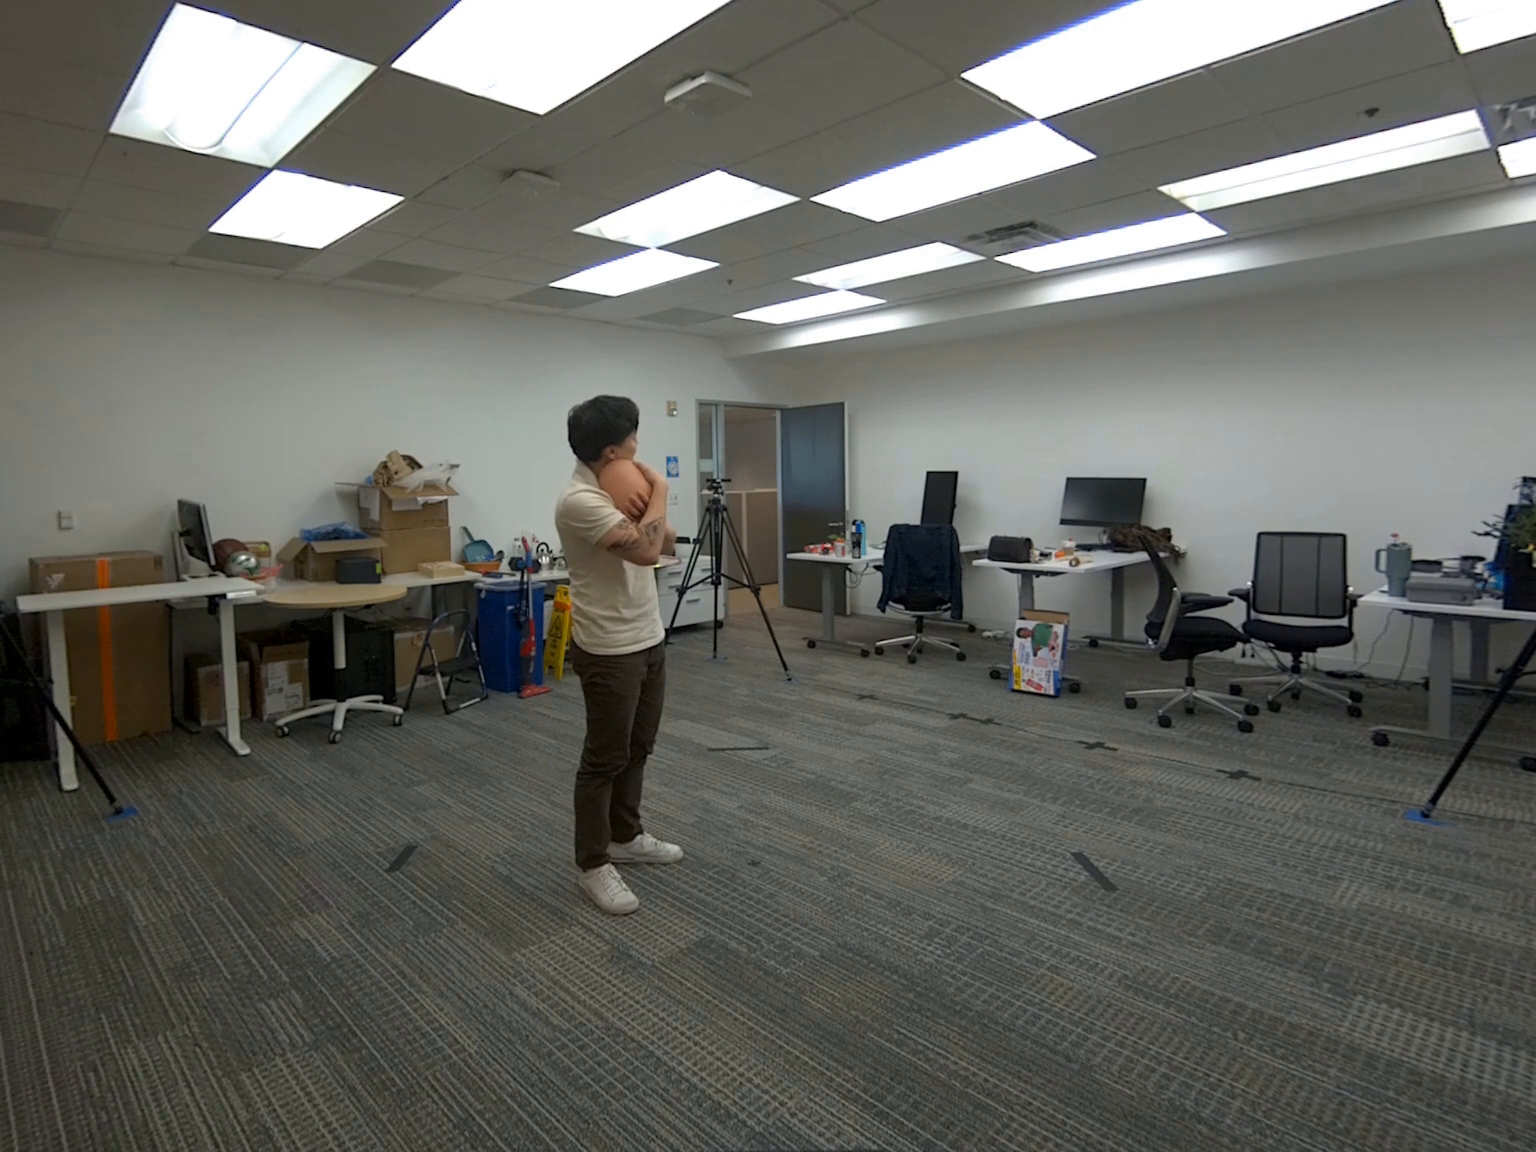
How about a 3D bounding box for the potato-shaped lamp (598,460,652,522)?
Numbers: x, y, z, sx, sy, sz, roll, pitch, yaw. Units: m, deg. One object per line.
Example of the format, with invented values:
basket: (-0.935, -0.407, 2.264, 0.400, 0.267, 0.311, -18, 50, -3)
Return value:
potato-shaped lamp: (-0.460, -0.280, 2.771, 0.162, 0.202, 0.170, -28, -21, -53)
